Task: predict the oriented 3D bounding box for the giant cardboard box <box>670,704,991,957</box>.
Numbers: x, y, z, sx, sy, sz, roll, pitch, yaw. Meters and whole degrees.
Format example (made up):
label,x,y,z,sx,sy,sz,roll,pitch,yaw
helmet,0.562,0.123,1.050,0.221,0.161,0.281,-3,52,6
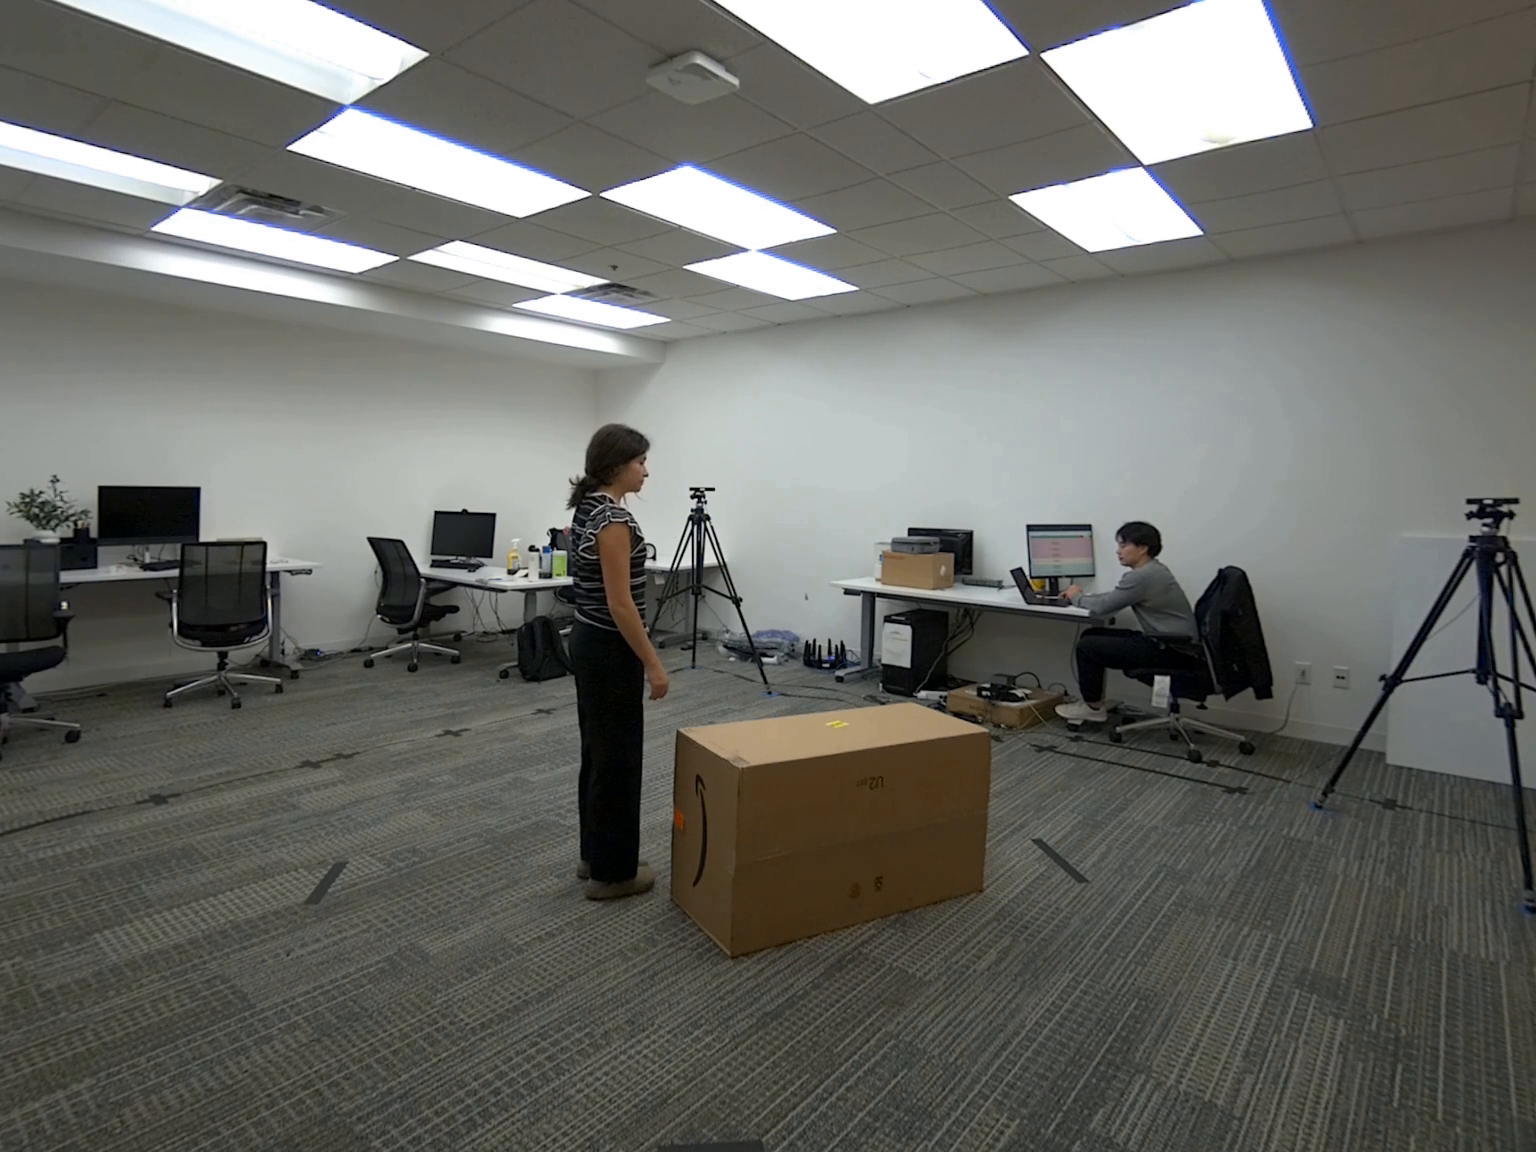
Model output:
label,x,y,z,sx,sy,sz,roll,pitch,yaw
giant cardboard box,0.219,0.804,2.916,0.999,0.576,0.439,-1,4,-29
